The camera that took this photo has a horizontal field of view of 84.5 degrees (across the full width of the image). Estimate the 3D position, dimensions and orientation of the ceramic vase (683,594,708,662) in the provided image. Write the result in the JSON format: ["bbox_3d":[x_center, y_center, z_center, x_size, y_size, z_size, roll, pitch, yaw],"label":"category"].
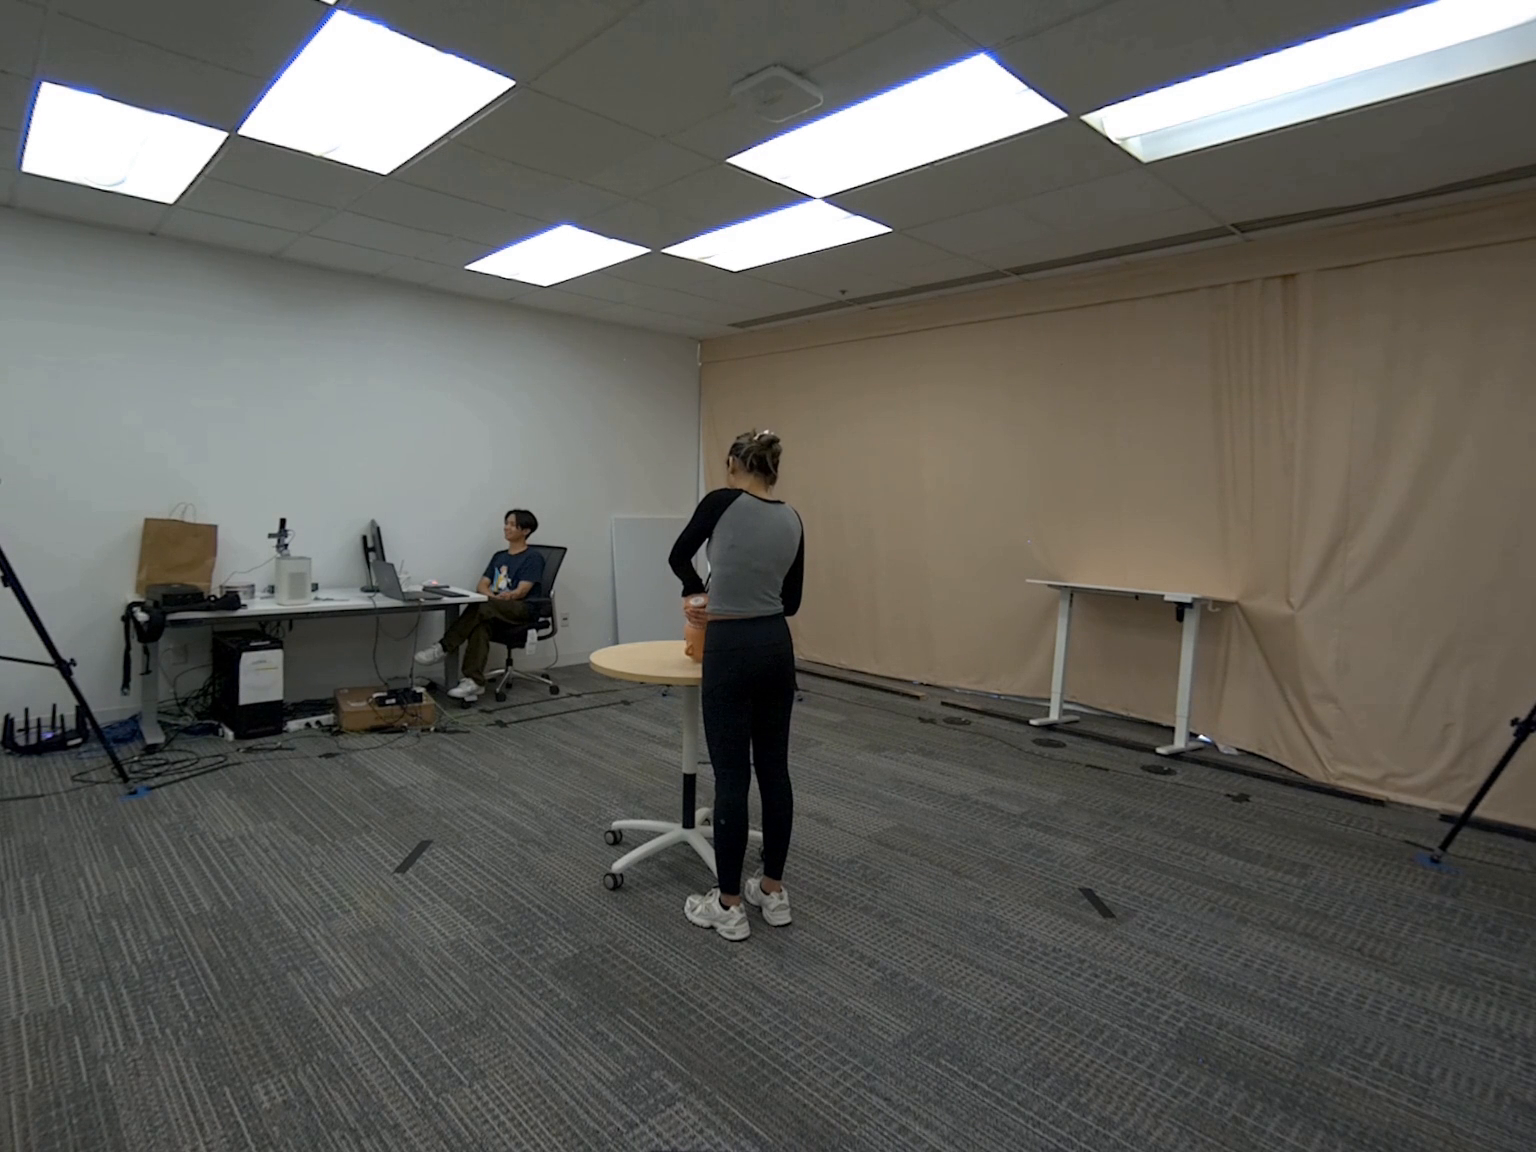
[{"bbox_3d":[-0.244,0.183,3.045,0.135,0.215,0.162,-7,26,0],"label":"ceramic vase"}]
